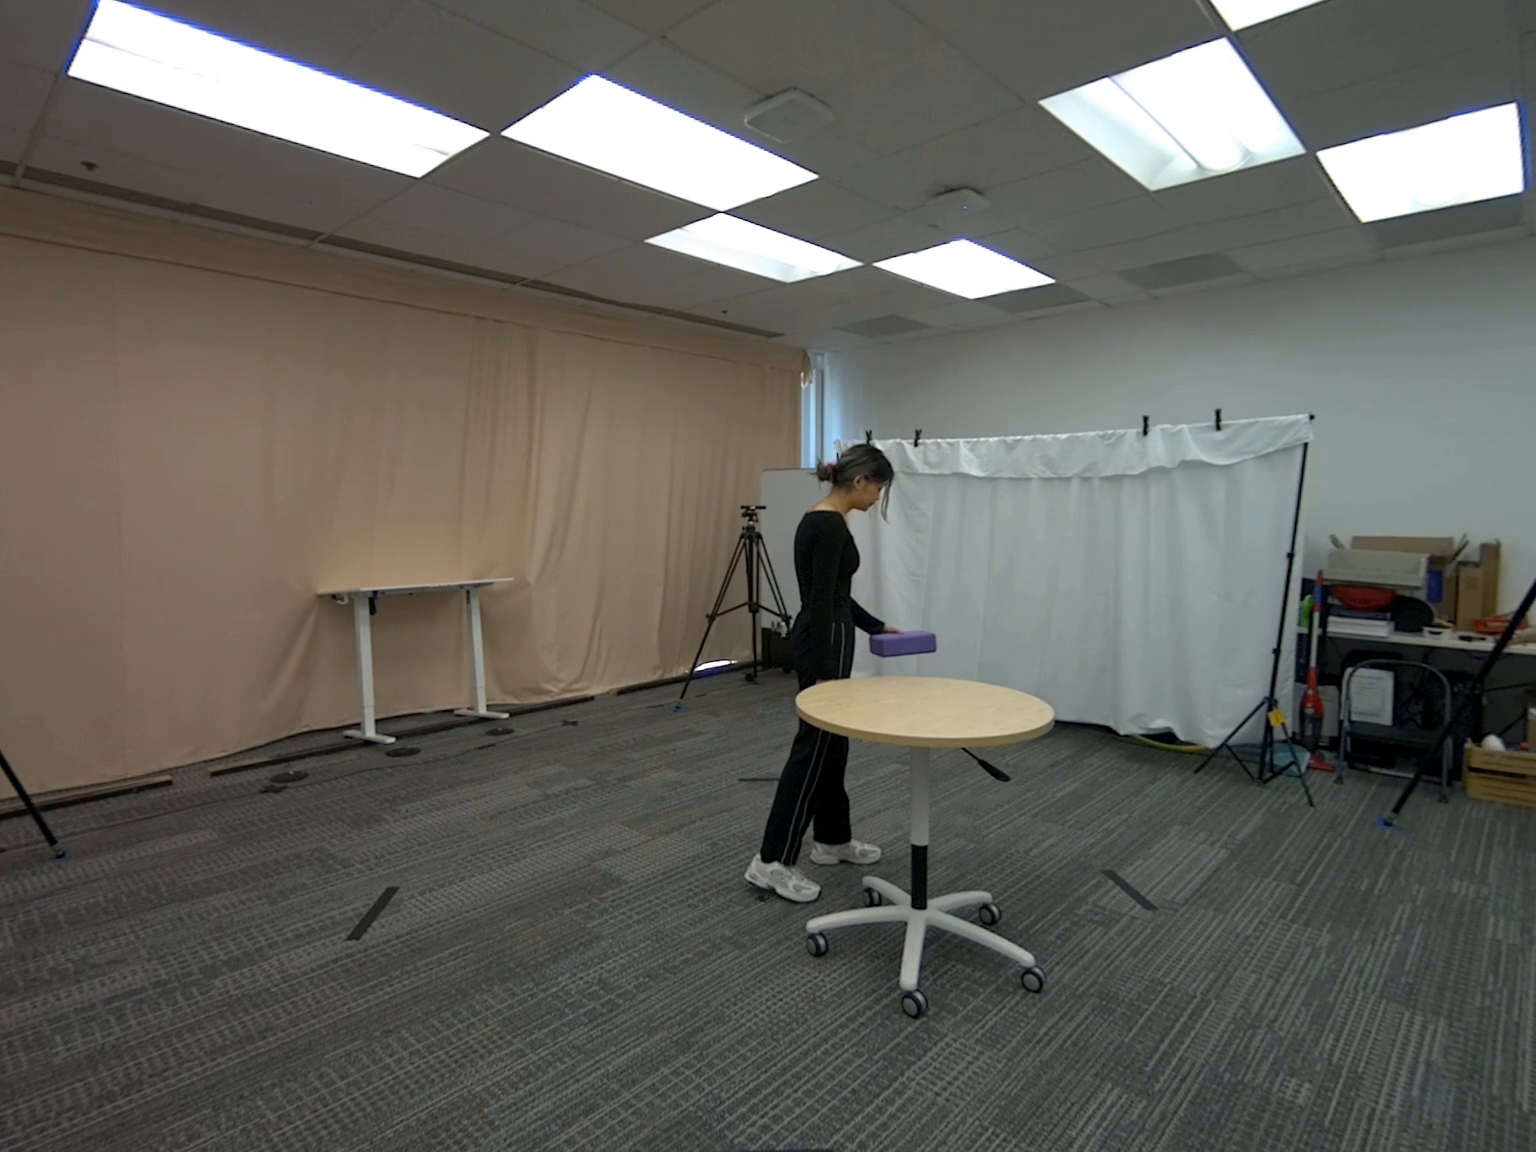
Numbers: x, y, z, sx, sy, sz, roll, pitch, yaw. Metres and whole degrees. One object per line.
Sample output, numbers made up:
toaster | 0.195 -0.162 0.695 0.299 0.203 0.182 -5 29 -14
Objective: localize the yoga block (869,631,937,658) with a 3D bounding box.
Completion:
yoga block | 0.532 0.271 3.340 0.228 0.076 0.150 -4 0 -6
